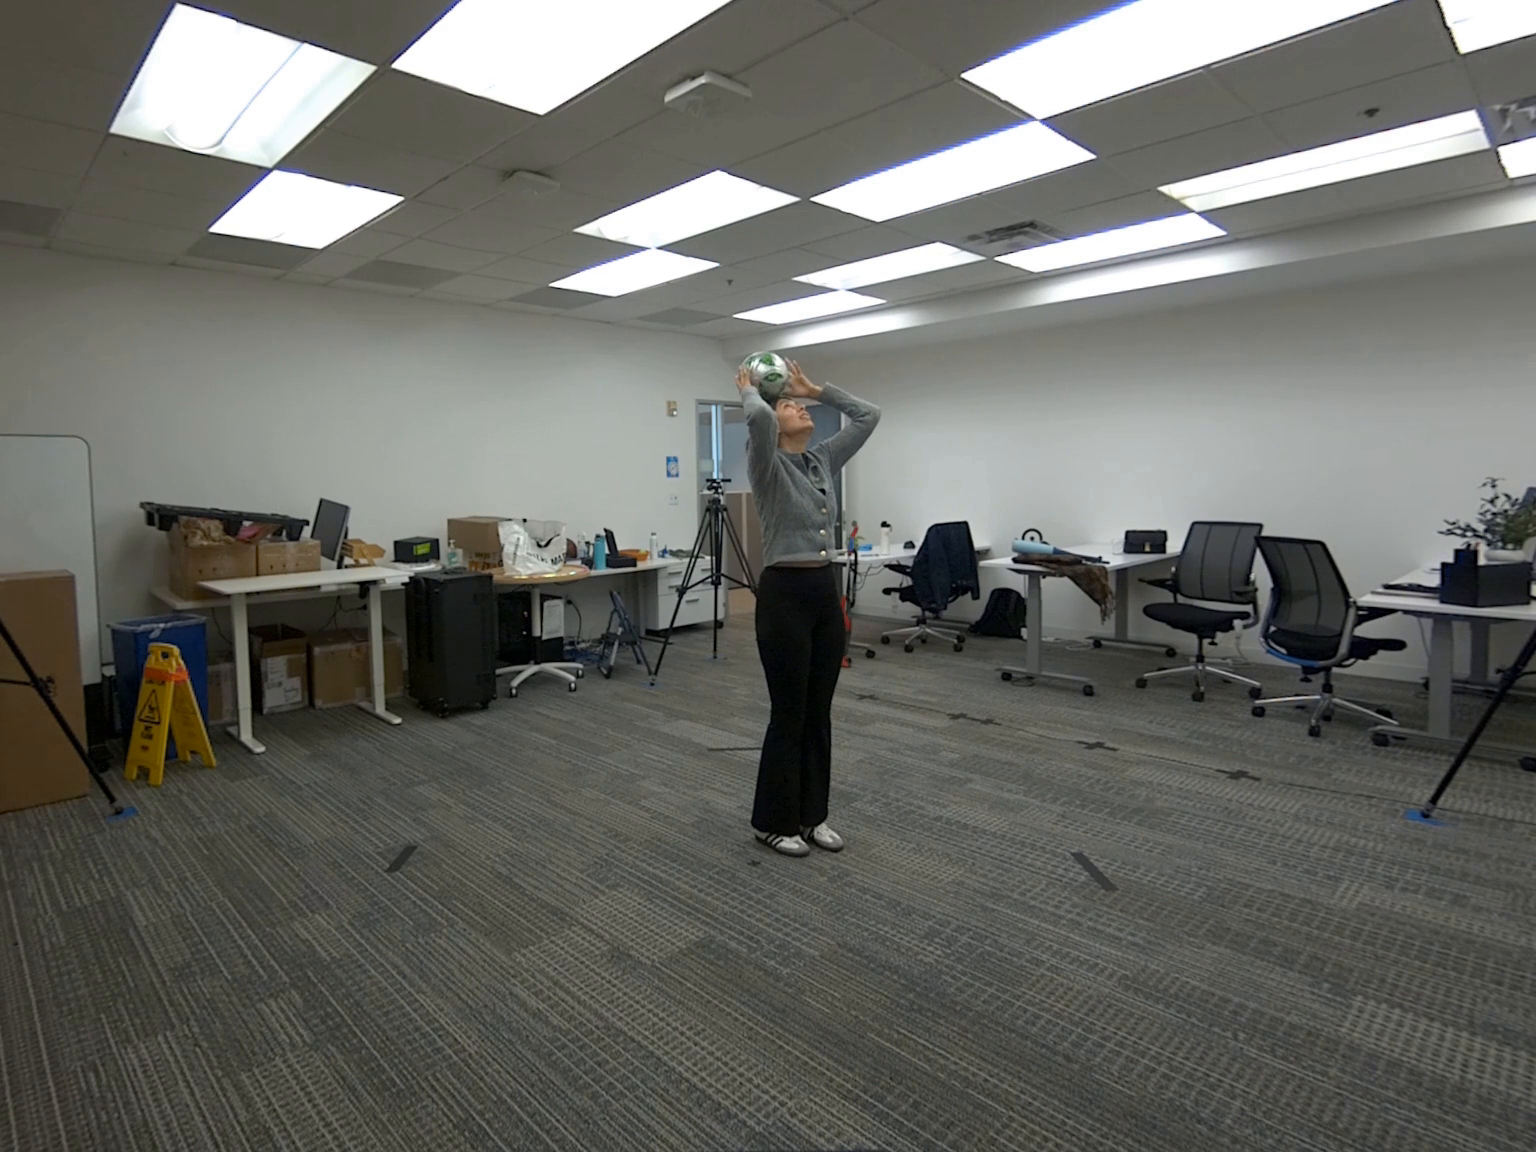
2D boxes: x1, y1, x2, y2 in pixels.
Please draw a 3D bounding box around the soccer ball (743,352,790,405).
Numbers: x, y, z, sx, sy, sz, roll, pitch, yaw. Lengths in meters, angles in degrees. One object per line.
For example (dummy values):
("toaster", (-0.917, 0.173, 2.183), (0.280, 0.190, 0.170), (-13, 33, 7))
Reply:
("soccer ball", (-0.007, -0.750, 3.227), (0.187, 0.187, 0.188), (-1, 5, -2))
